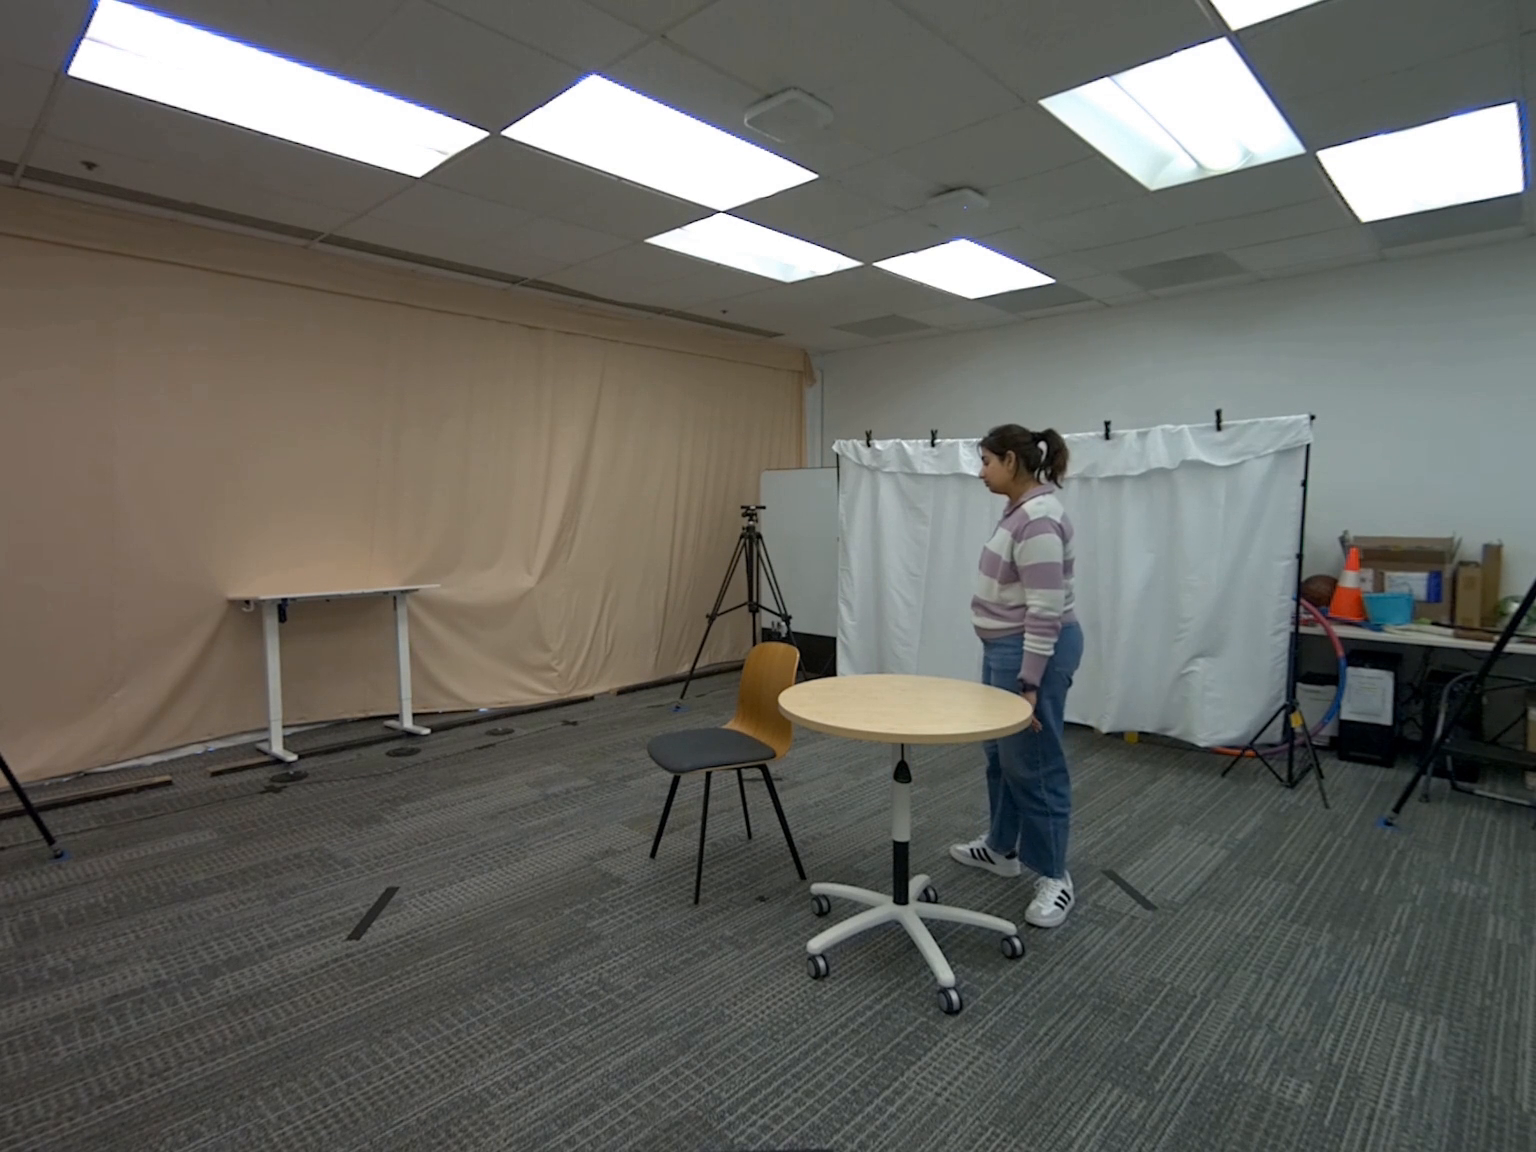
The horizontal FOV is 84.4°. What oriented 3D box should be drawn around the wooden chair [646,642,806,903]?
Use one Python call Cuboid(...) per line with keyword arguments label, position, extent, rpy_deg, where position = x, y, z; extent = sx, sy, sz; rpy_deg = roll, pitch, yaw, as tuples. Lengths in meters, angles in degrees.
Cuboid(label="wooden chair", position=(-0.172, 0.701, 3.206), extent=(0.509, 0.877, 0.491), rpy_deg=(3, 2, -28))
